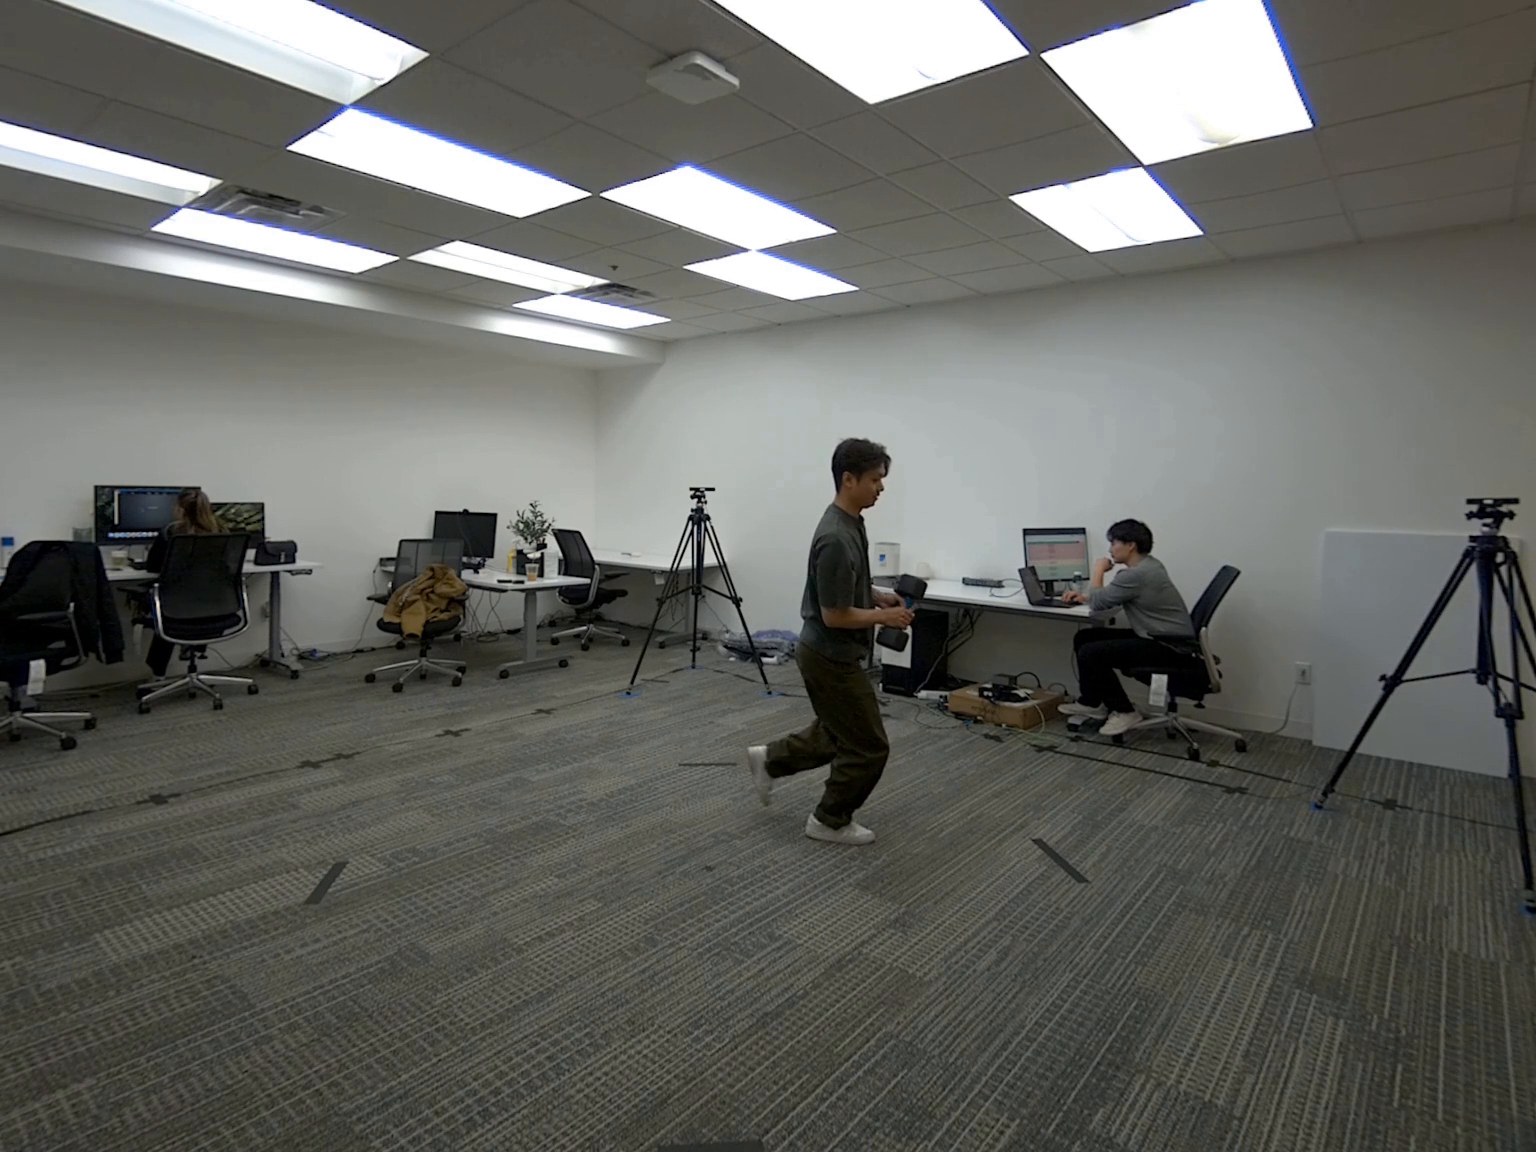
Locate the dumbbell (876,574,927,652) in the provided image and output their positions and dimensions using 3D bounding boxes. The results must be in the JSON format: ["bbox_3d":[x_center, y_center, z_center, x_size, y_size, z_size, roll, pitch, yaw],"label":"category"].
[{"bbox_3d":[0.507,0.143,3.298,0.118,0.294,0.112,25,-8,-31],"label":"dumbbell"}]
